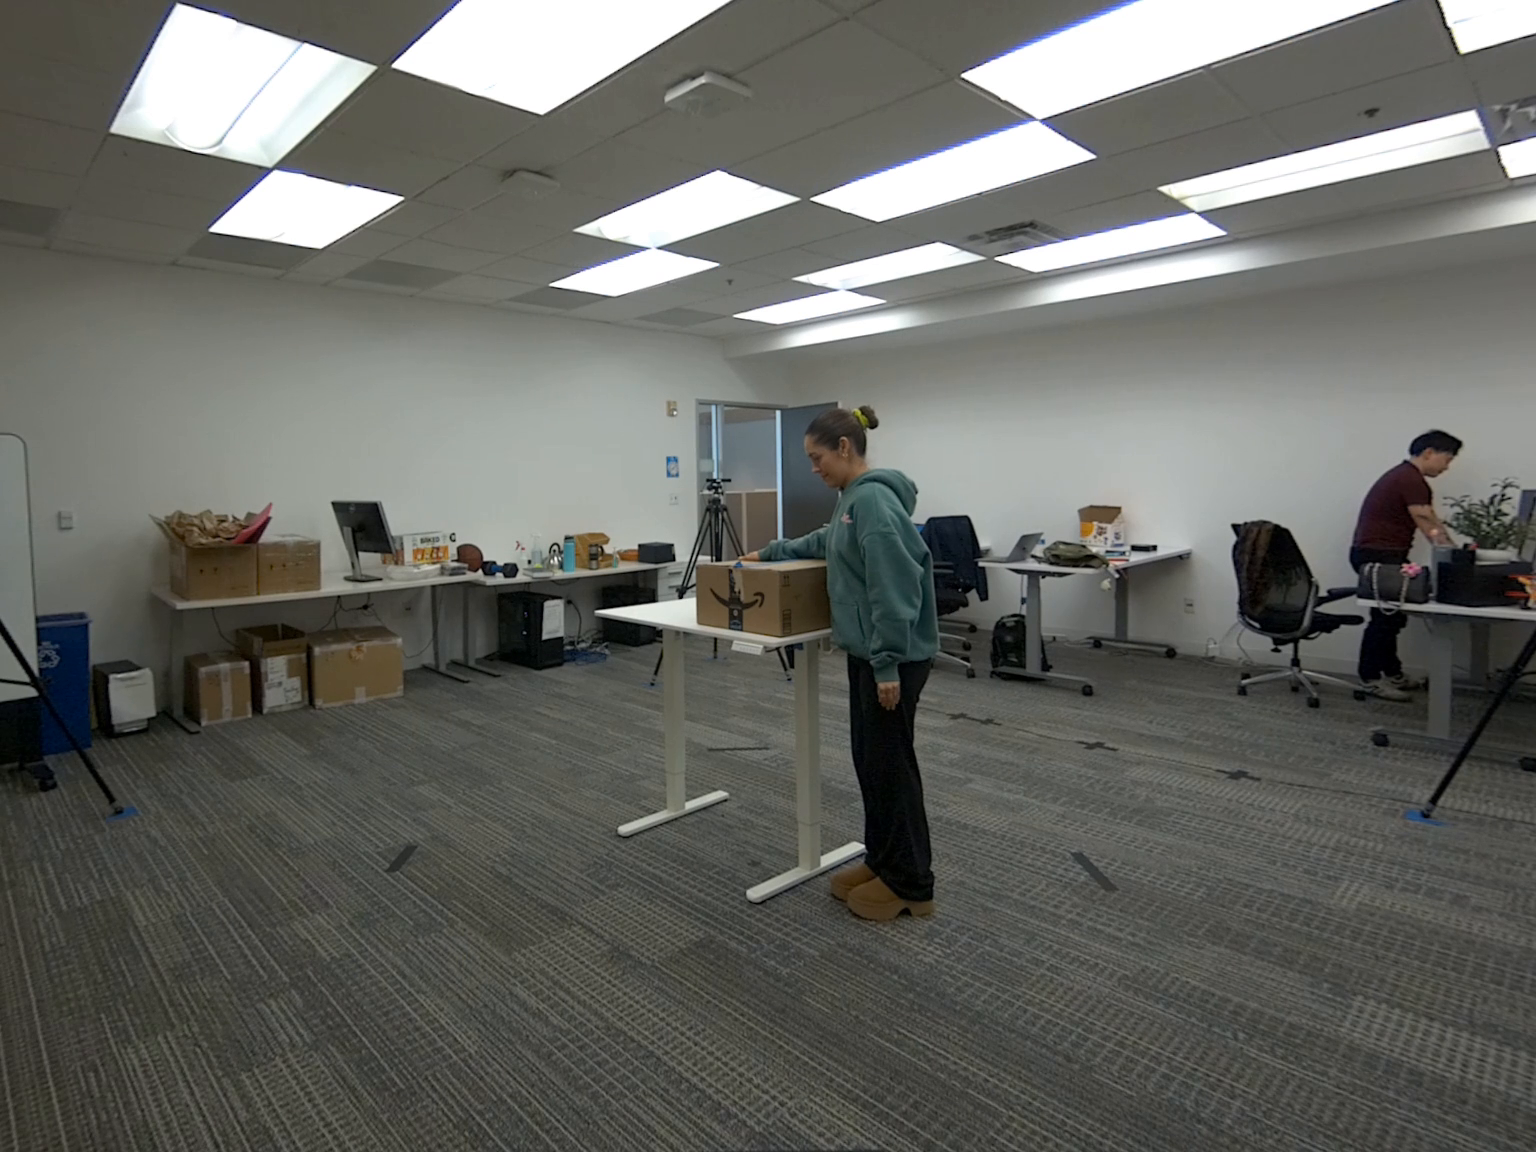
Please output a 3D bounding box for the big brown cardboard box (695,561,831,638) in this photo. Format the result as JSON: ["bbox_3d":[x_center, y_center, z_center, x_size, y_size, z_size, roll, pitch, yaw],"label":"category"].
[{"bbox_3d":[0.092,0.057,3.075,0.574,0.232,0.430,-8,8,-44],"label":"big brown cardboard box"}]
